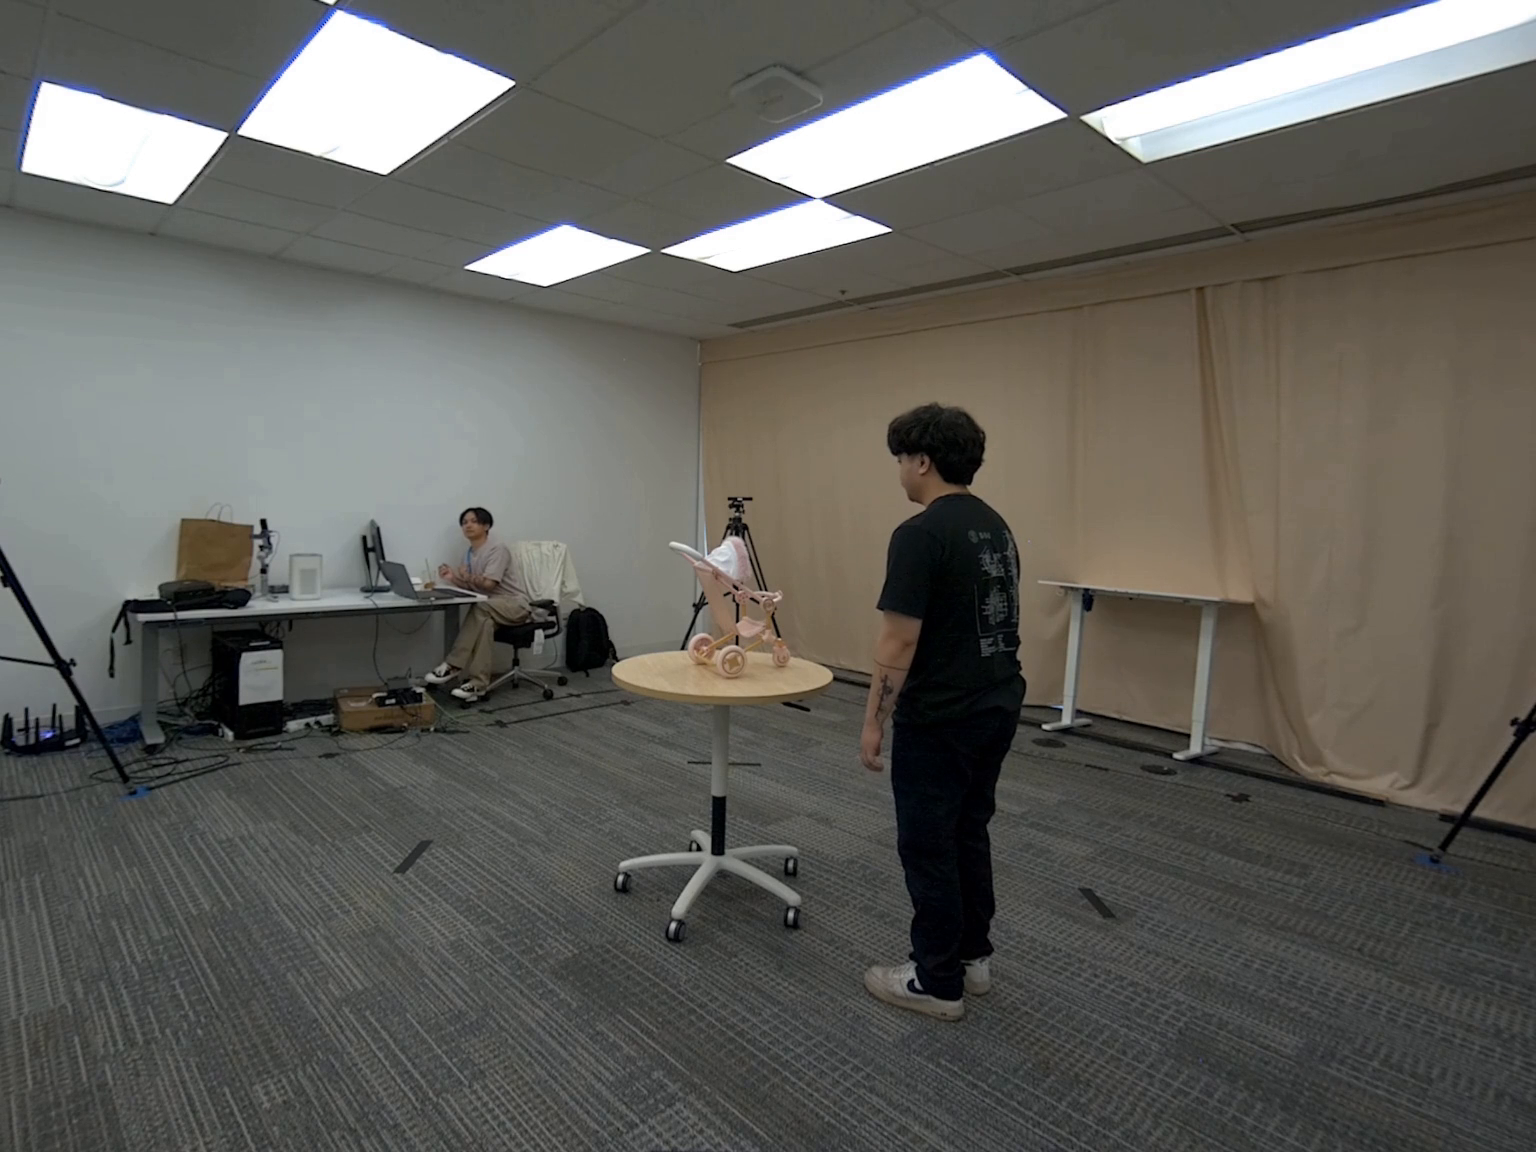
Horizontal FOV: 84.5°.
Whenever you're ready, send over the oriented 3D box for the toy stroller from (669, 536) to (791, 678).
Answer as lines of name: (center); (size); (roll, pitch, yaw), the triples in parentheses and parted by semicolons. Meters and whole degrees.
toy stroller: (-0.119, 0.104, 2.933); (0.337, 0.531, 0.287); (-14, 10, -20)
